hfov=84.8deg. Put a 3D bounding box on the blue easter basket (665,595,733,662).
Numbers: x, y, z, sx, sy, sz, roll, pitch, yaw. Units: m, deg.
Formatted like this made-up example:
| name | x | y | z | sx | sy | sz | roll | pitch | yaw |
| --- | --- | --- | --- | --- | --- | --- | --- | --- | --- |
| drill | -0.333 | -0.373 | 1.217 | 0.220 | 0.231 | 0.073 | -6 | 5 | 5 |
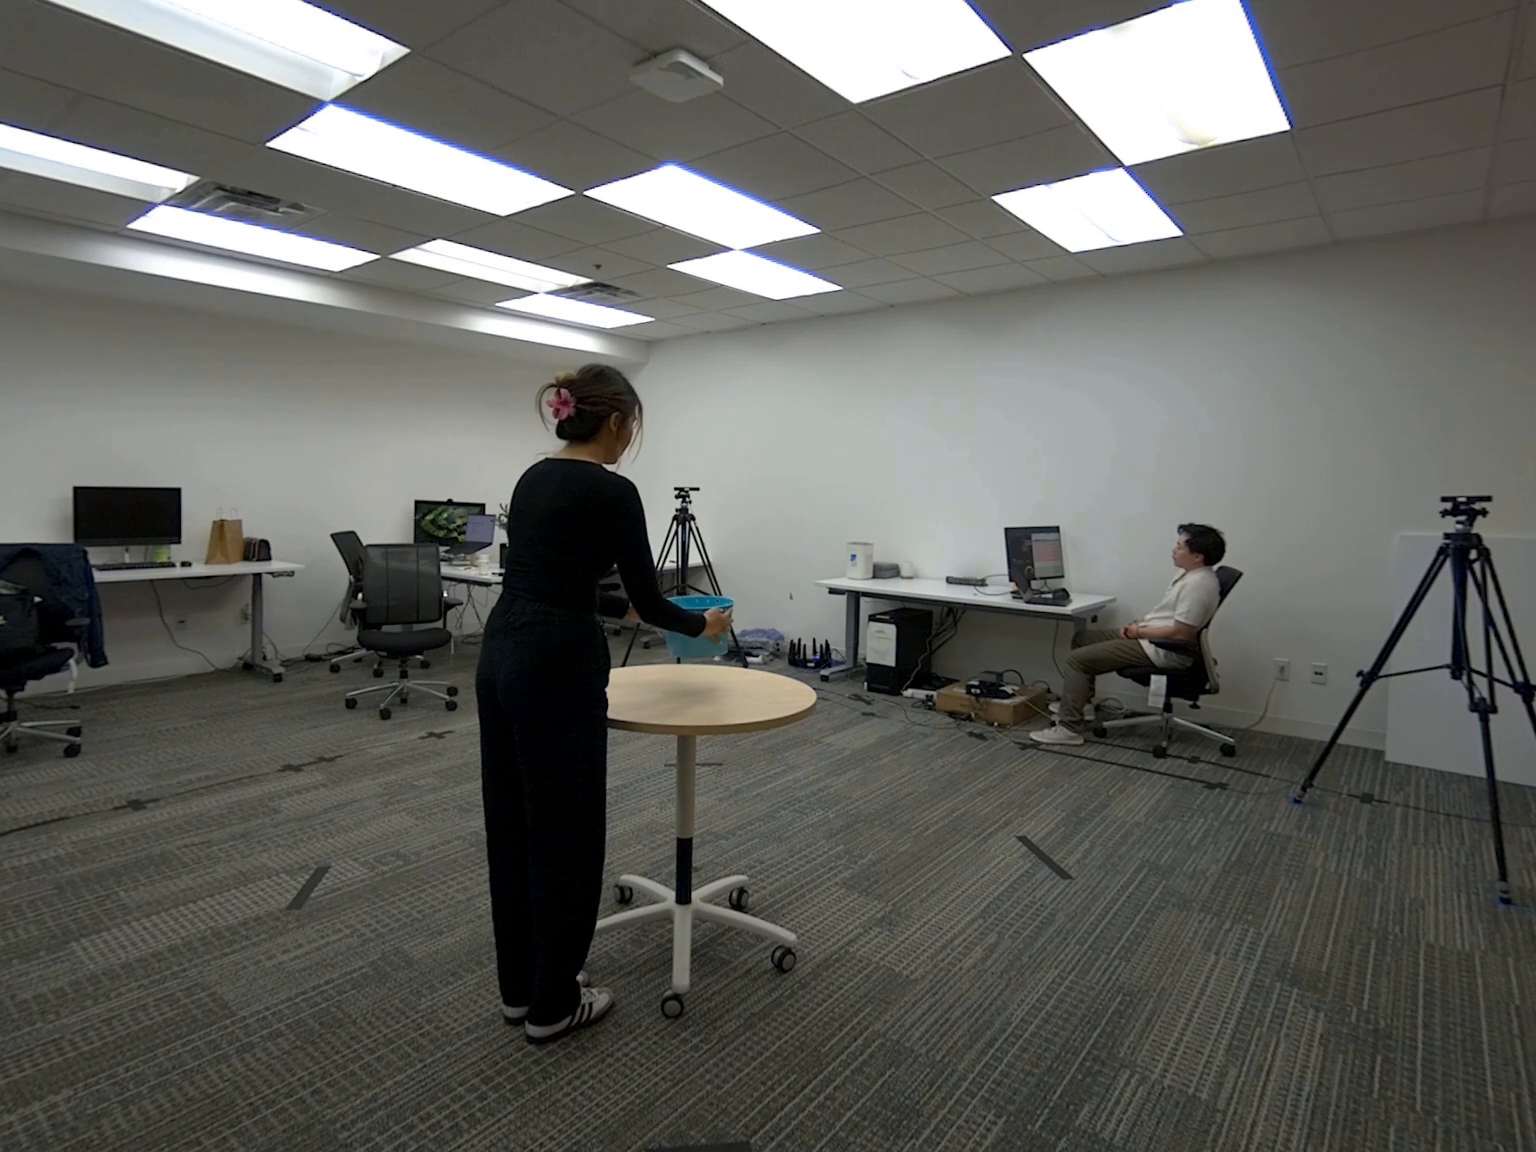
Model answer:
| name | x | y | z | sx | sy | sz | roll | pitch | yaw |
| --- | --- | --- | --- | --- | --- | --- | --- | --- | --- |
| blue easter basket | -0.224 | 0.153 | 2.556 | 0.243 | 0.155 | 0.245 | -1 | 7 | -2 |
